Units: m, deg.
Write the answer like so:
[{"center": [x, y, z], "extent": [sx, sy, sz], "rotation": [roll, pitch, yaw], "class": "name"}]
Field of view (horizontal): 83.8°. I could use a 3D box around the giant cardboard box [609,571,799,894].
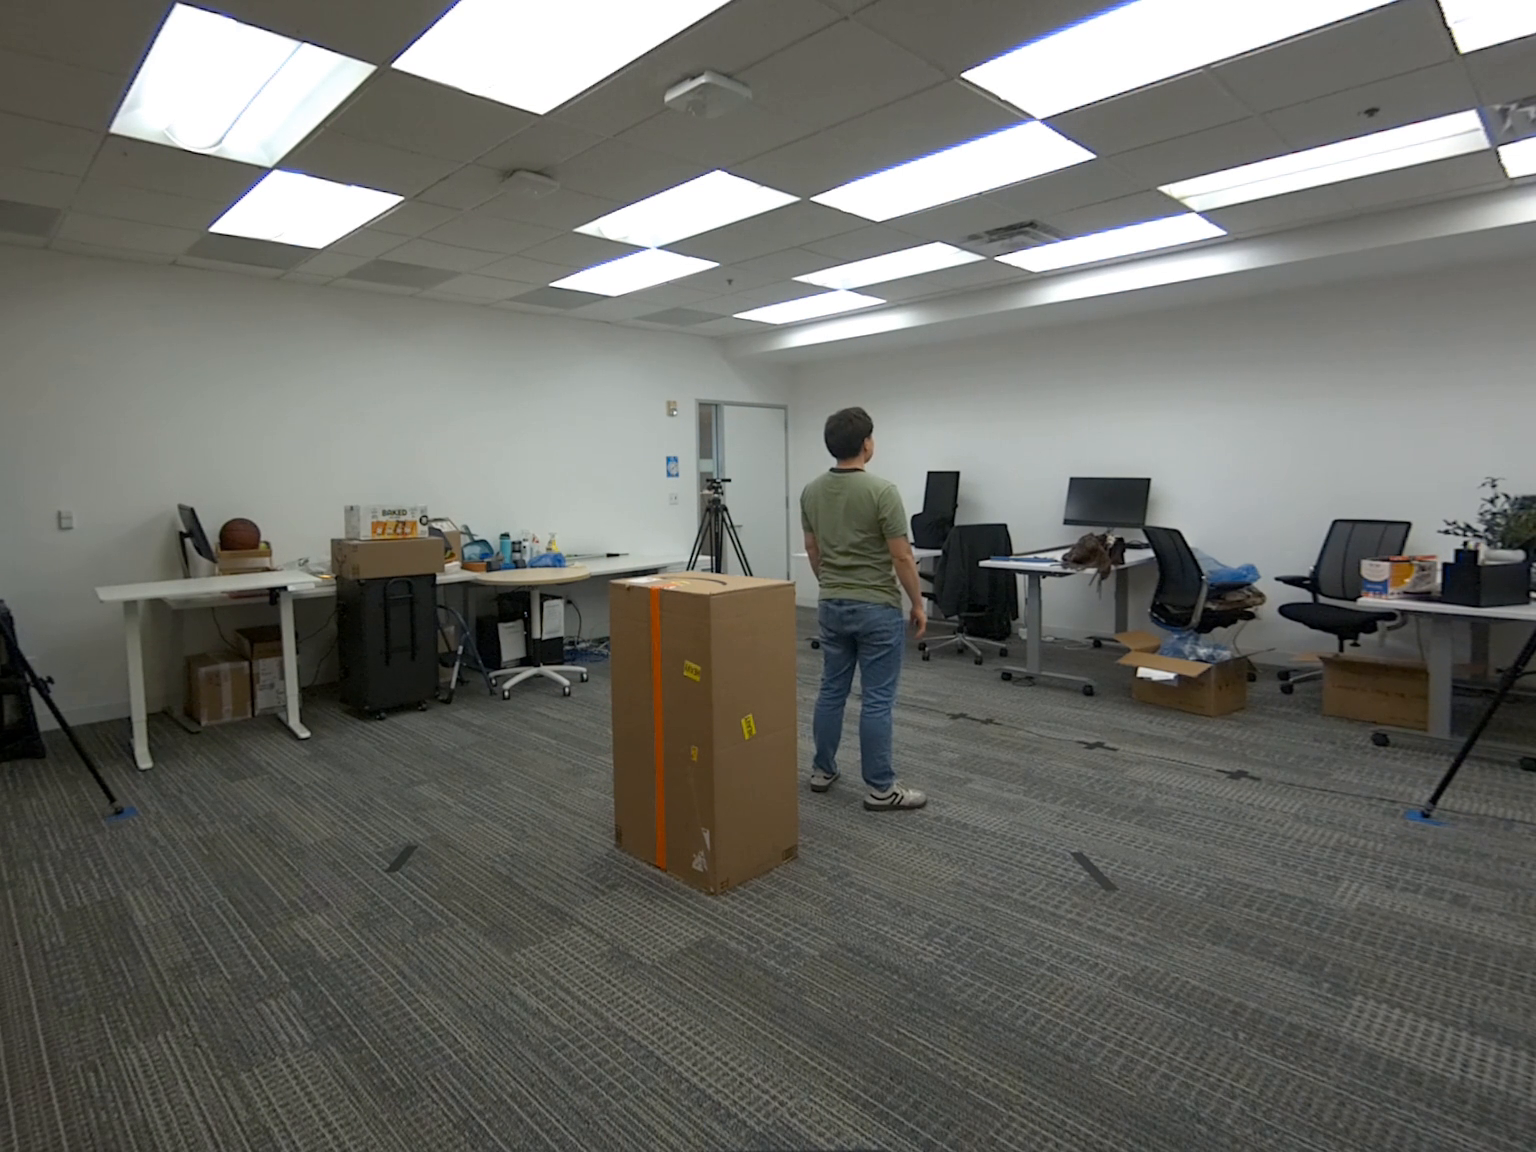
[{"center": [-0.243, 0.529, 3.175], "extent": [0.415, 1.022, 0.595], "rotation": [-5, 6, -44], "class": "giant cardboard box"}]
